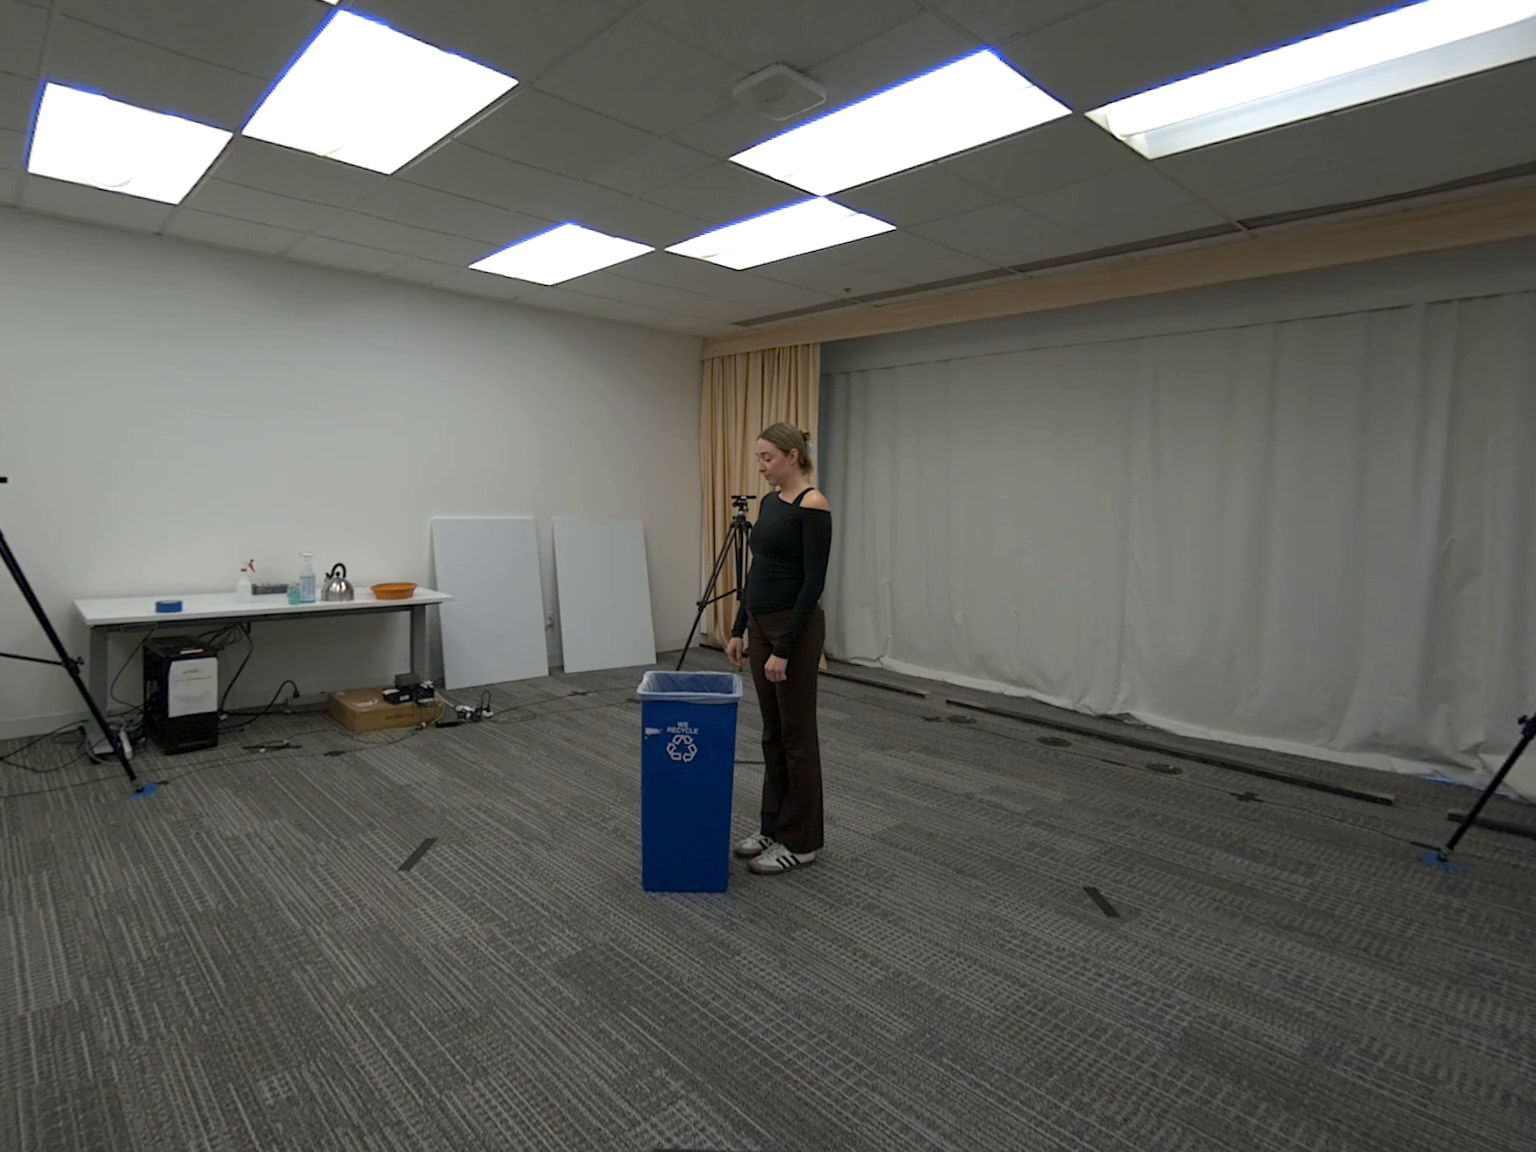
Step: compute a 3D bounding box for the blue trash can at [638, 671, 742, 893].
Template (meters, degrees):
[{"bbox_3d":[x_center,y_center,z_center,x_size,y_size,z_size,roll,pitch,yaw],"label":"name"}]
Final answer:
[{"bbox_3d":[-0.291,0.742,3.084,0.374,0.711,0.379,1,4,-1],"label":"blue trash can"}]
